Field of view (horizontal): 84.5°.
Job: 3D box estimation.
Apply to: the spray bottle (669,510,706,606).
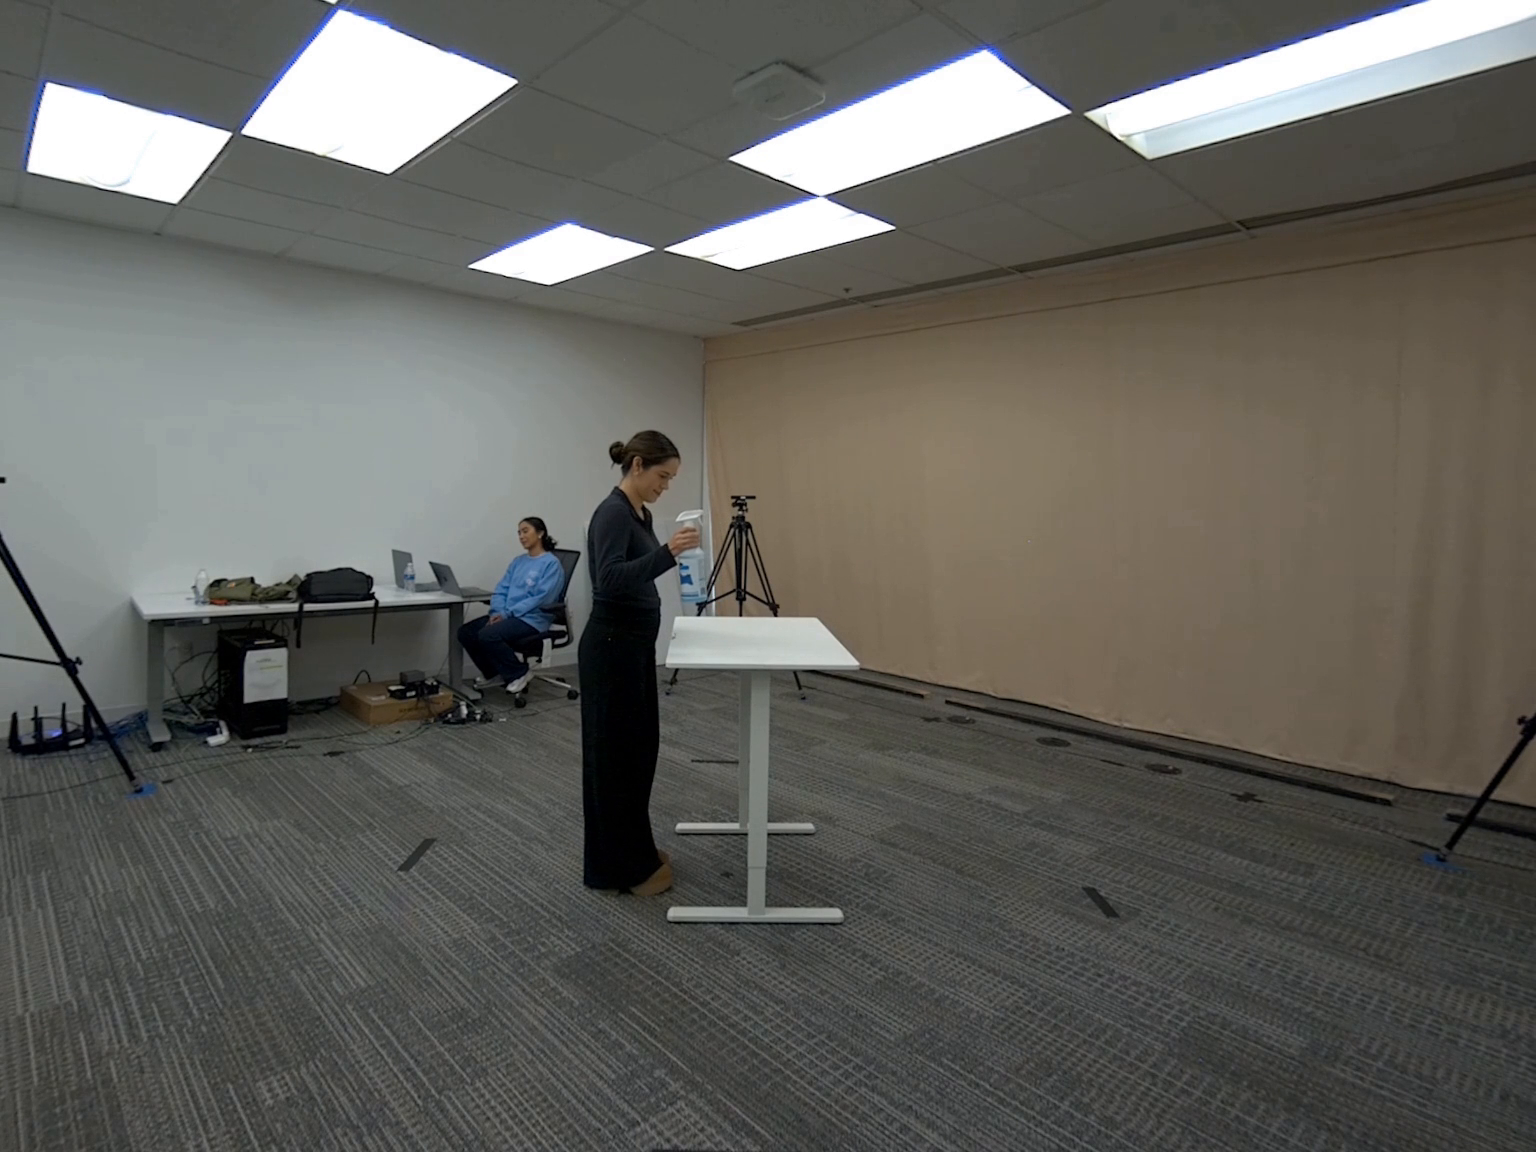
[{"bbox_3d":[-0.260,-0.061,2.724,0.091,0.296,0.086,0,4,11],"label":"spray bottle"}]
